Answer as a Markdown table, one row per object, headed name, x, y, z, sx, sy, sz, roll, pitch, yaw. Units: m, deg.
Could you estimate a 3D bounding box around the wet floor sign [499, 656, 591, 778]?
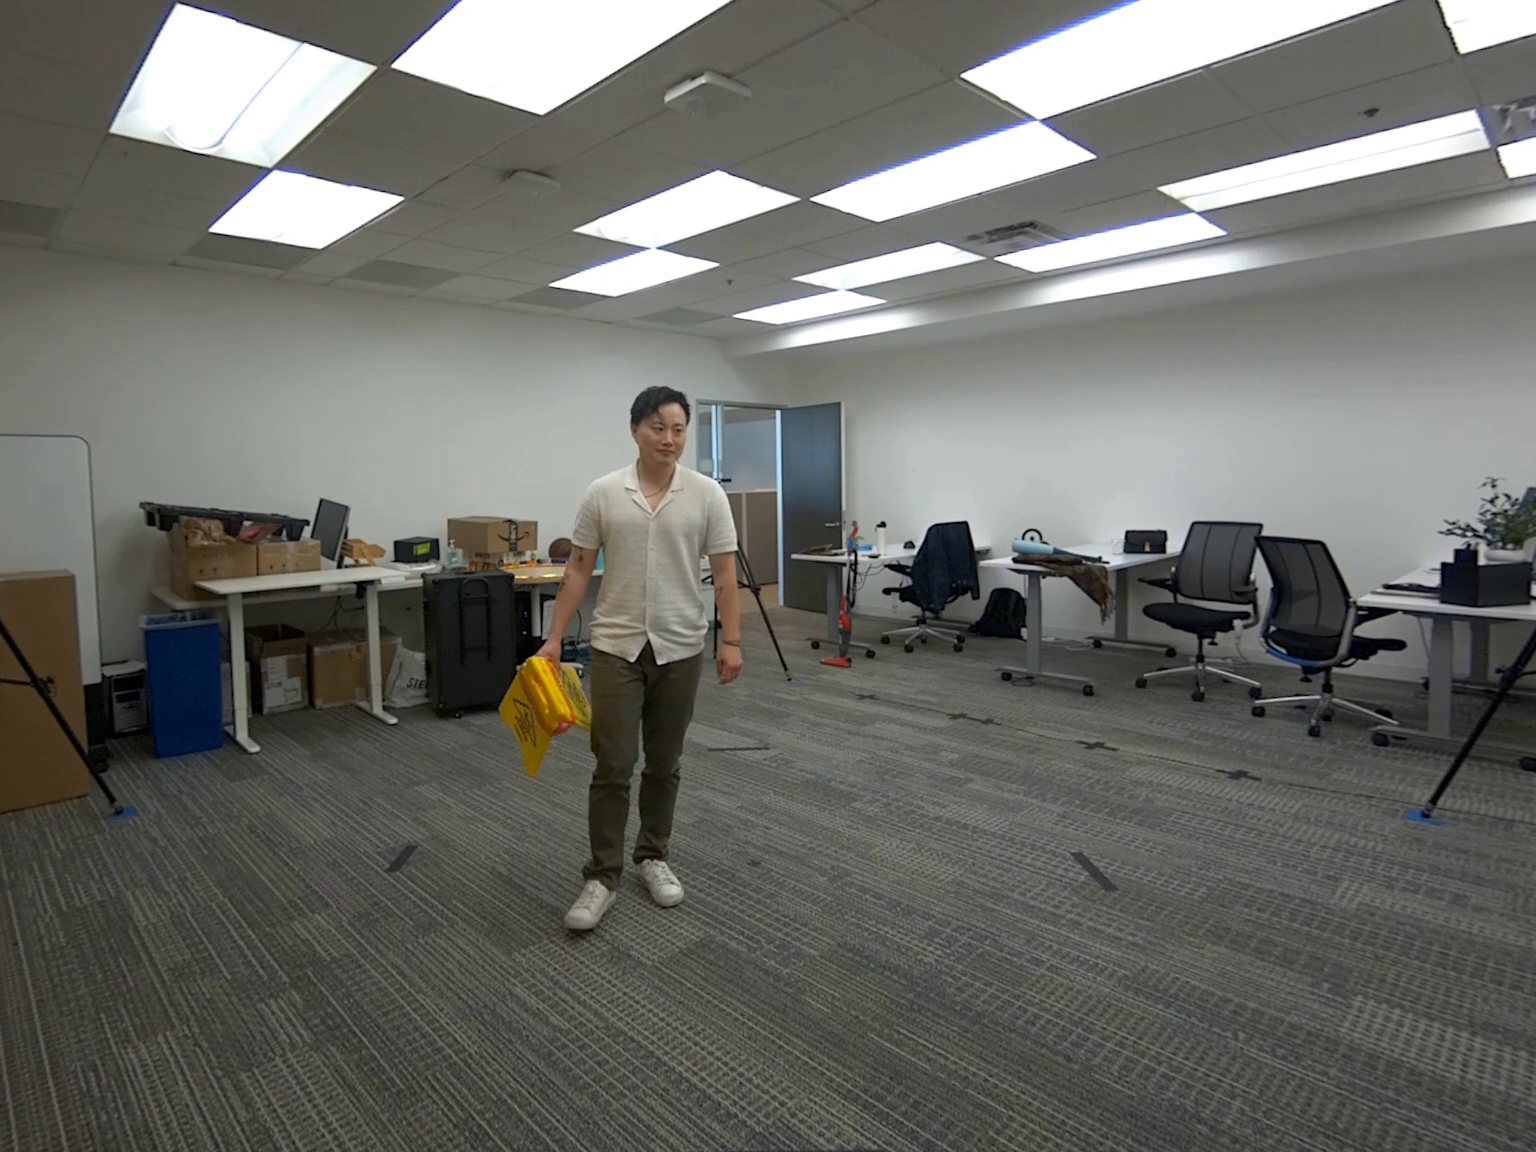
| name | x | y | z | sx | sy | sz | roll | pitch | yaw |
| --- | --- | --- | --- | --- | --- | --- | --- | --- | --- |
| wet floor sign | -0.707 | 0.423 | 2.795 | 0.287 | 0.287 | 0.640 | -26 | -12 | -19 |
